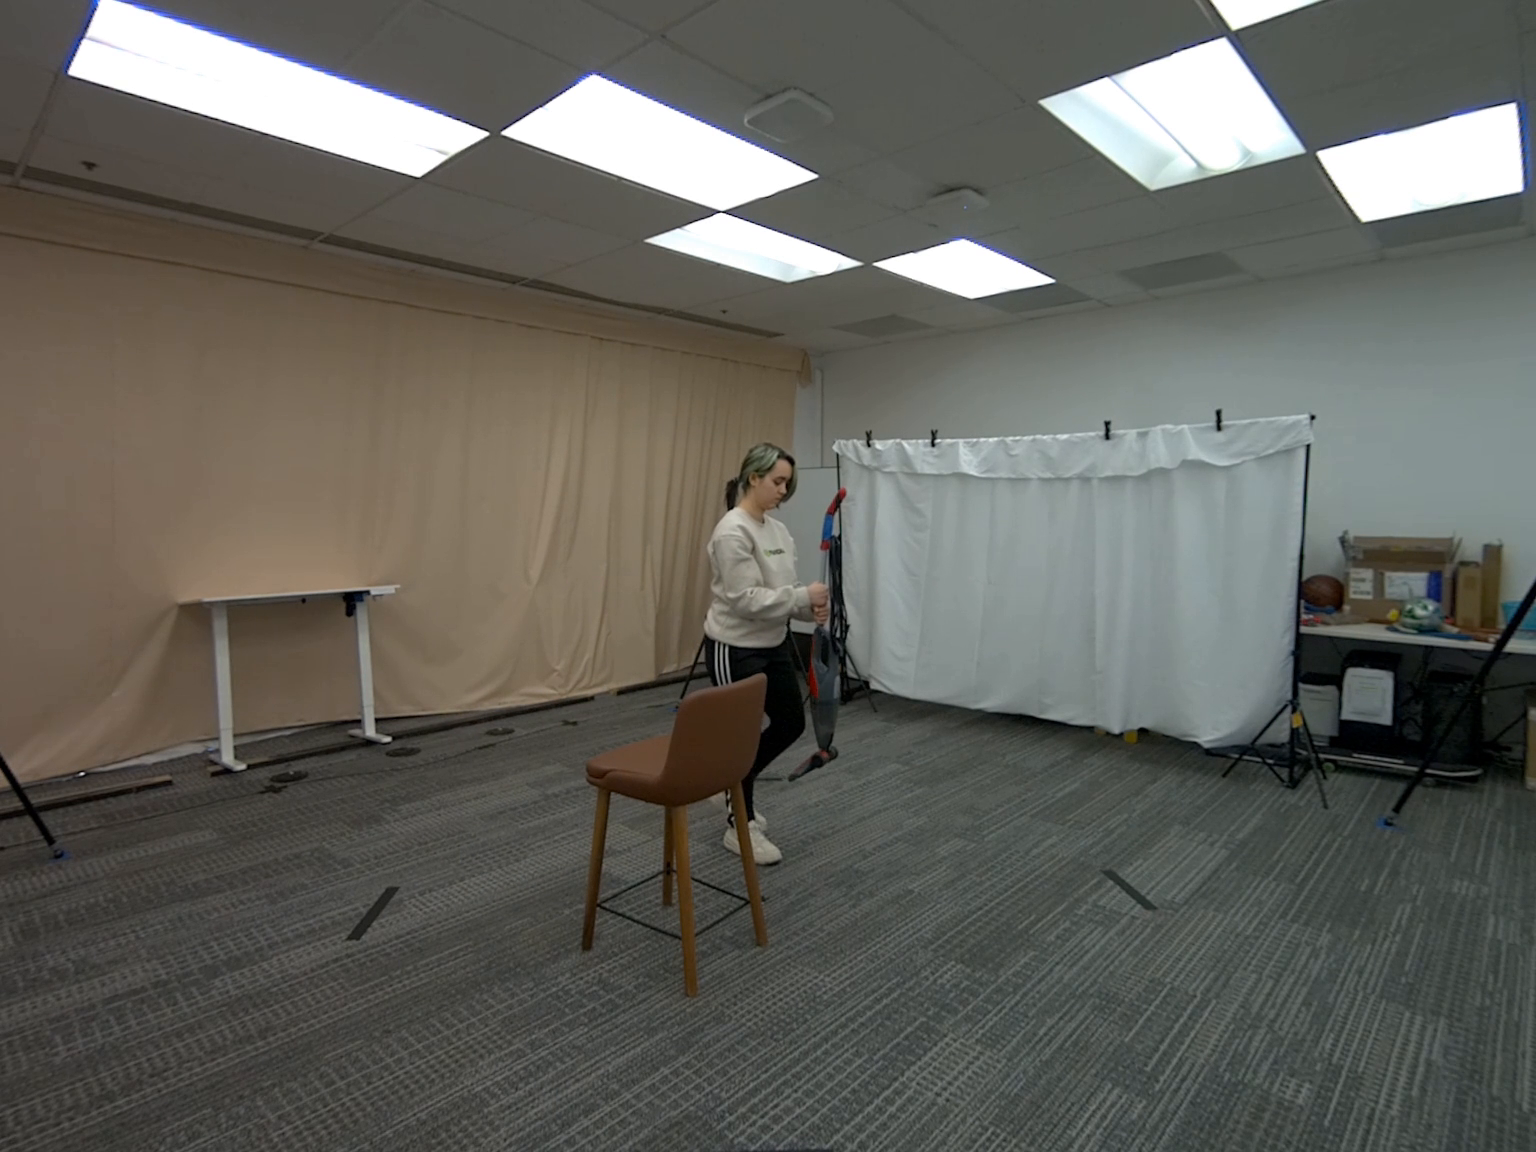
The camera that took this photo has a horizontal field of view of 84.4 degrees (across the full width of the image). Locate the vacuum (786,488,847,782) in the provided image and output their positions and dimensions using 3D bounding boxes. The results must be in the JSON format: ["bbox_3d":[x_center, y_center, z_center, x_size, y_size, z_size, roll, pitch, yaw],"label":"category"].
[{"bbox_3d":[0.233,0.202,3.155,0.148,1.045,0.246,11,9,30],"label":"vacuum"}]
